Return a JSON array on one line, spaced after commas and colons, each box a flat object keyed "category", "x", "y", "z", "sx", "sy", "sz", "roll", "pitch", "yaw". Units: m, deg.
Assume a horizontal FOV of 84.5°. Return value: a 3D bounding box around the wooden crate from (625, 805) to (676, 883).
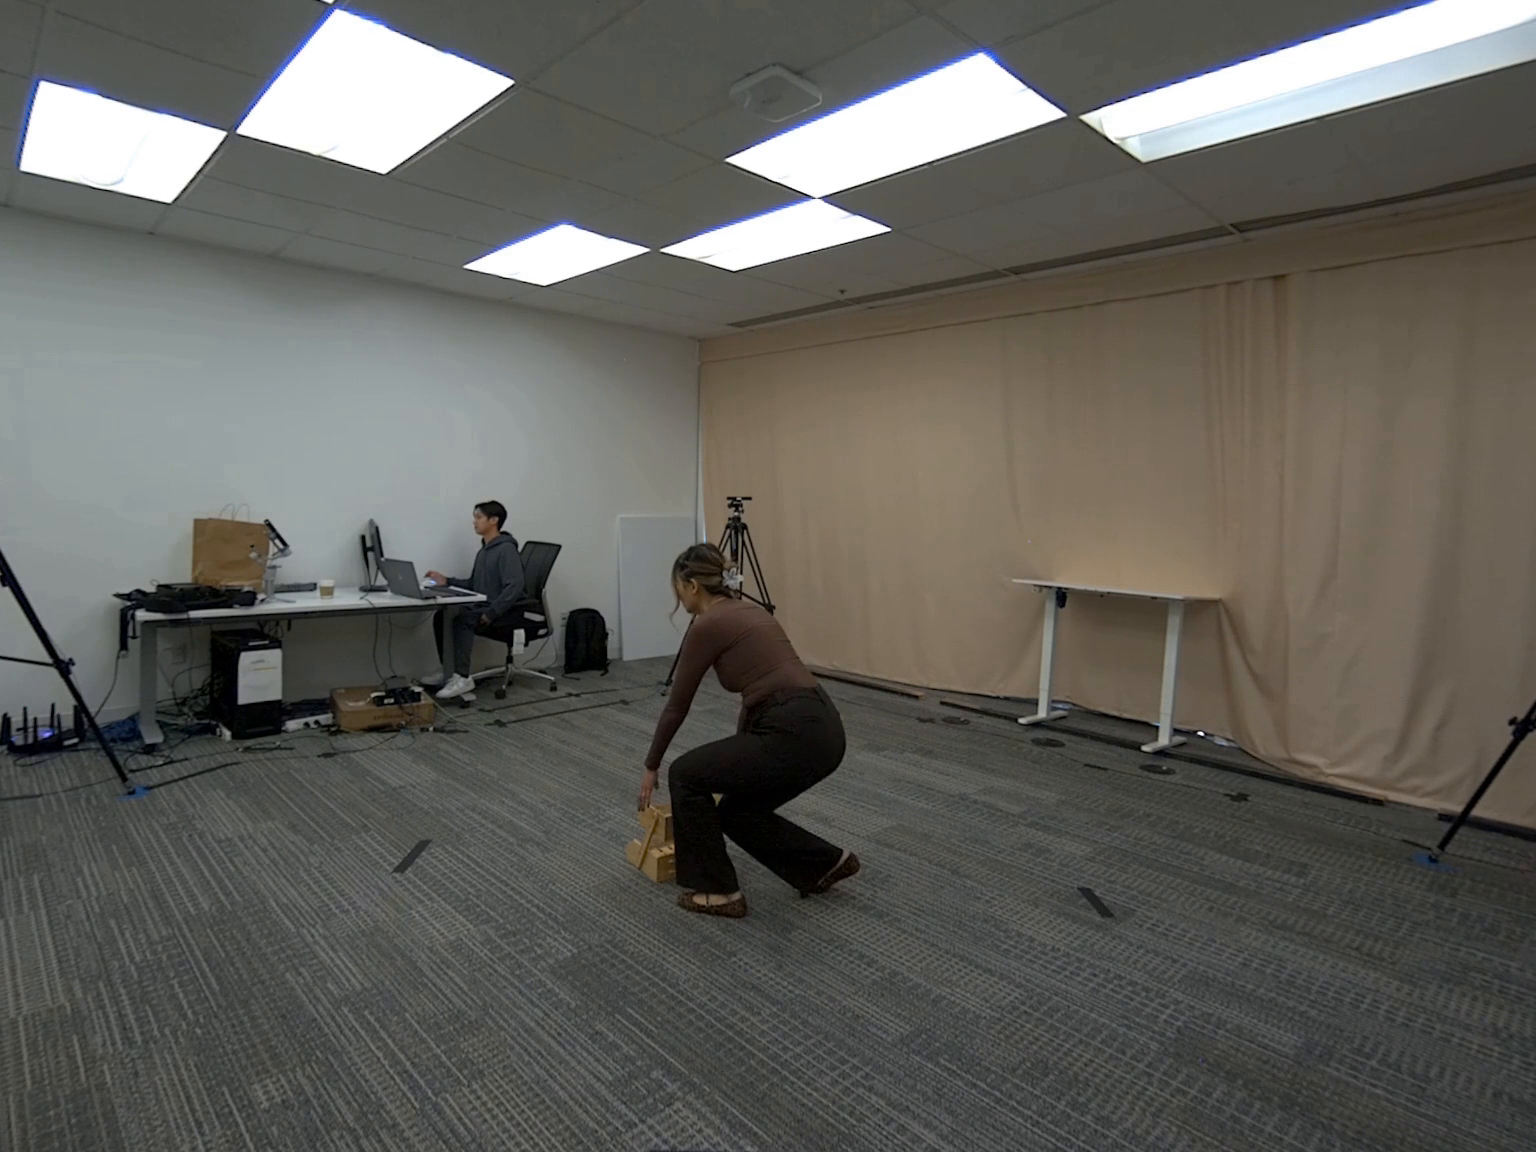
[{"category": "wooden crate", "x": -0.339, "y": 0.961, "z": 3.190, "sx": 0.317, "sy": 0.272, "sz": 0.309, "roll": -1, "pitch": 6, "yaw": -36}]
